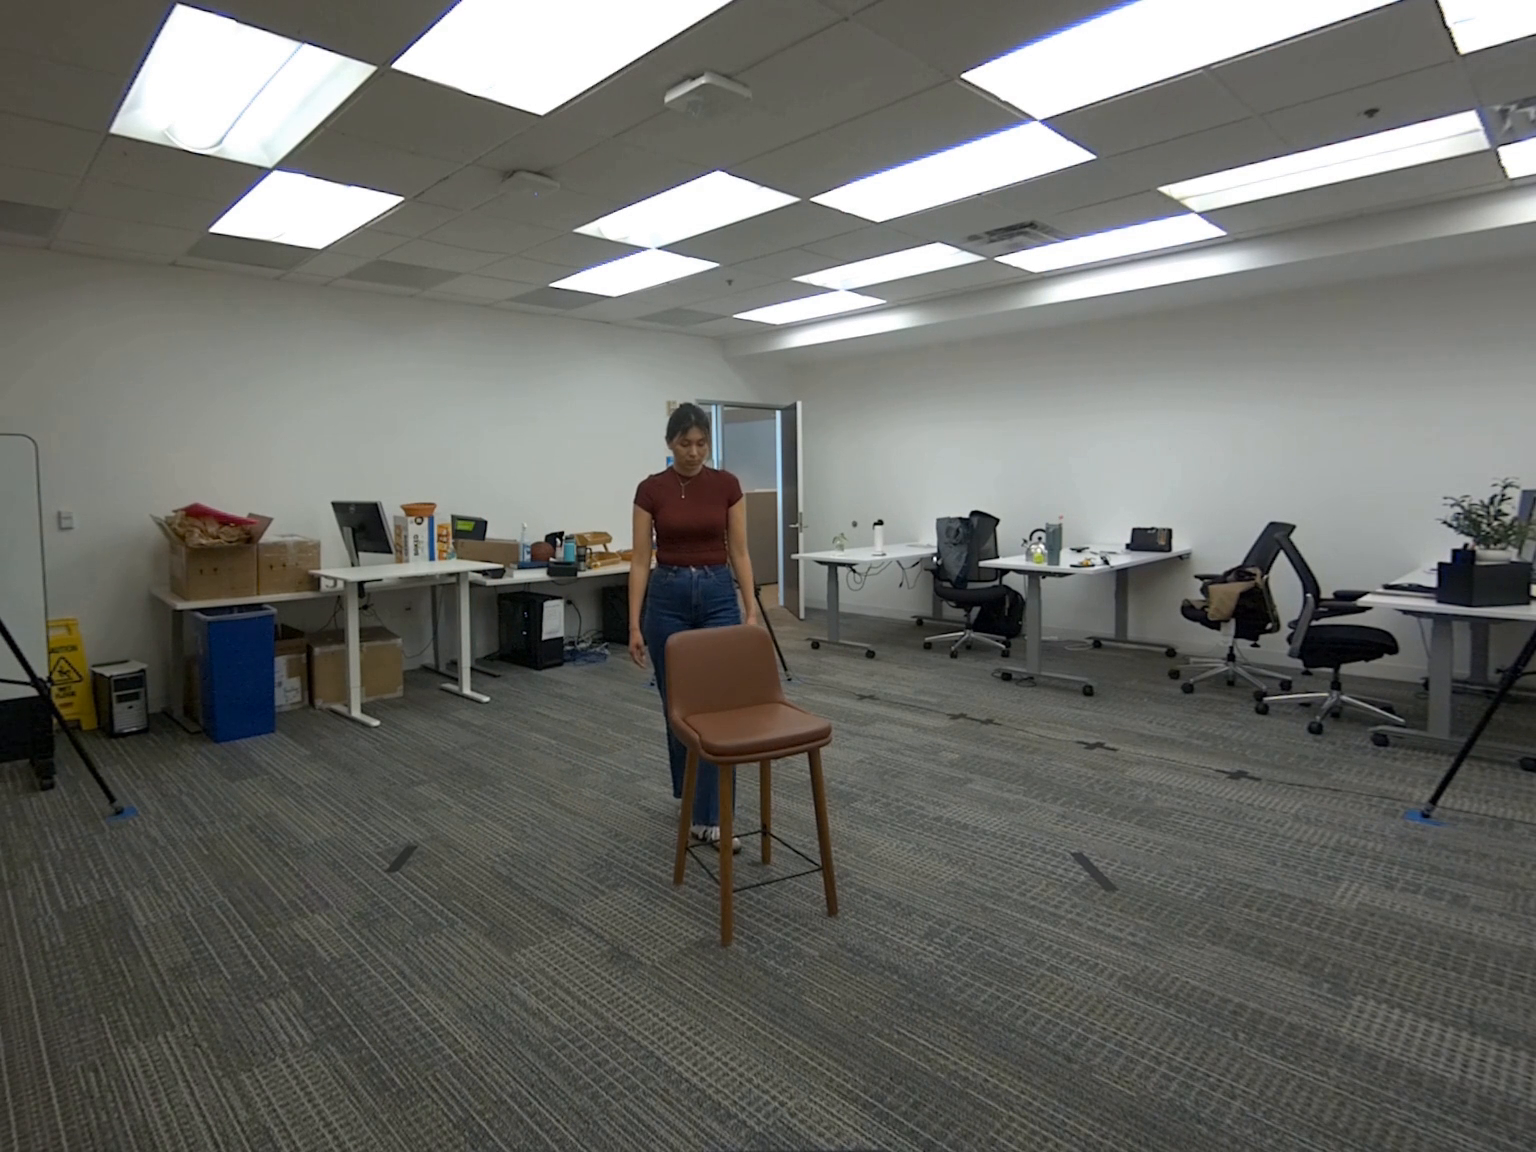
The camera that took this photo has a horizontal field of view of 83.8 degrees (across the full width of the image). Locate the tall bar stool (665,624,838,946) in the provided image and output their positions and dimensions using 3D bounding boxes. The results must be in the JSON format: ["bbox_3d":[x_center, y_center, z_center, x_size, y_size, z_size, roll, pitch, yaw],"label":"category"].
[{"bbox_3d":[-0.066,0.641,2.824,0.446,0.888,0.479,-2,3,-27],"label":"tall bar stool"}]
